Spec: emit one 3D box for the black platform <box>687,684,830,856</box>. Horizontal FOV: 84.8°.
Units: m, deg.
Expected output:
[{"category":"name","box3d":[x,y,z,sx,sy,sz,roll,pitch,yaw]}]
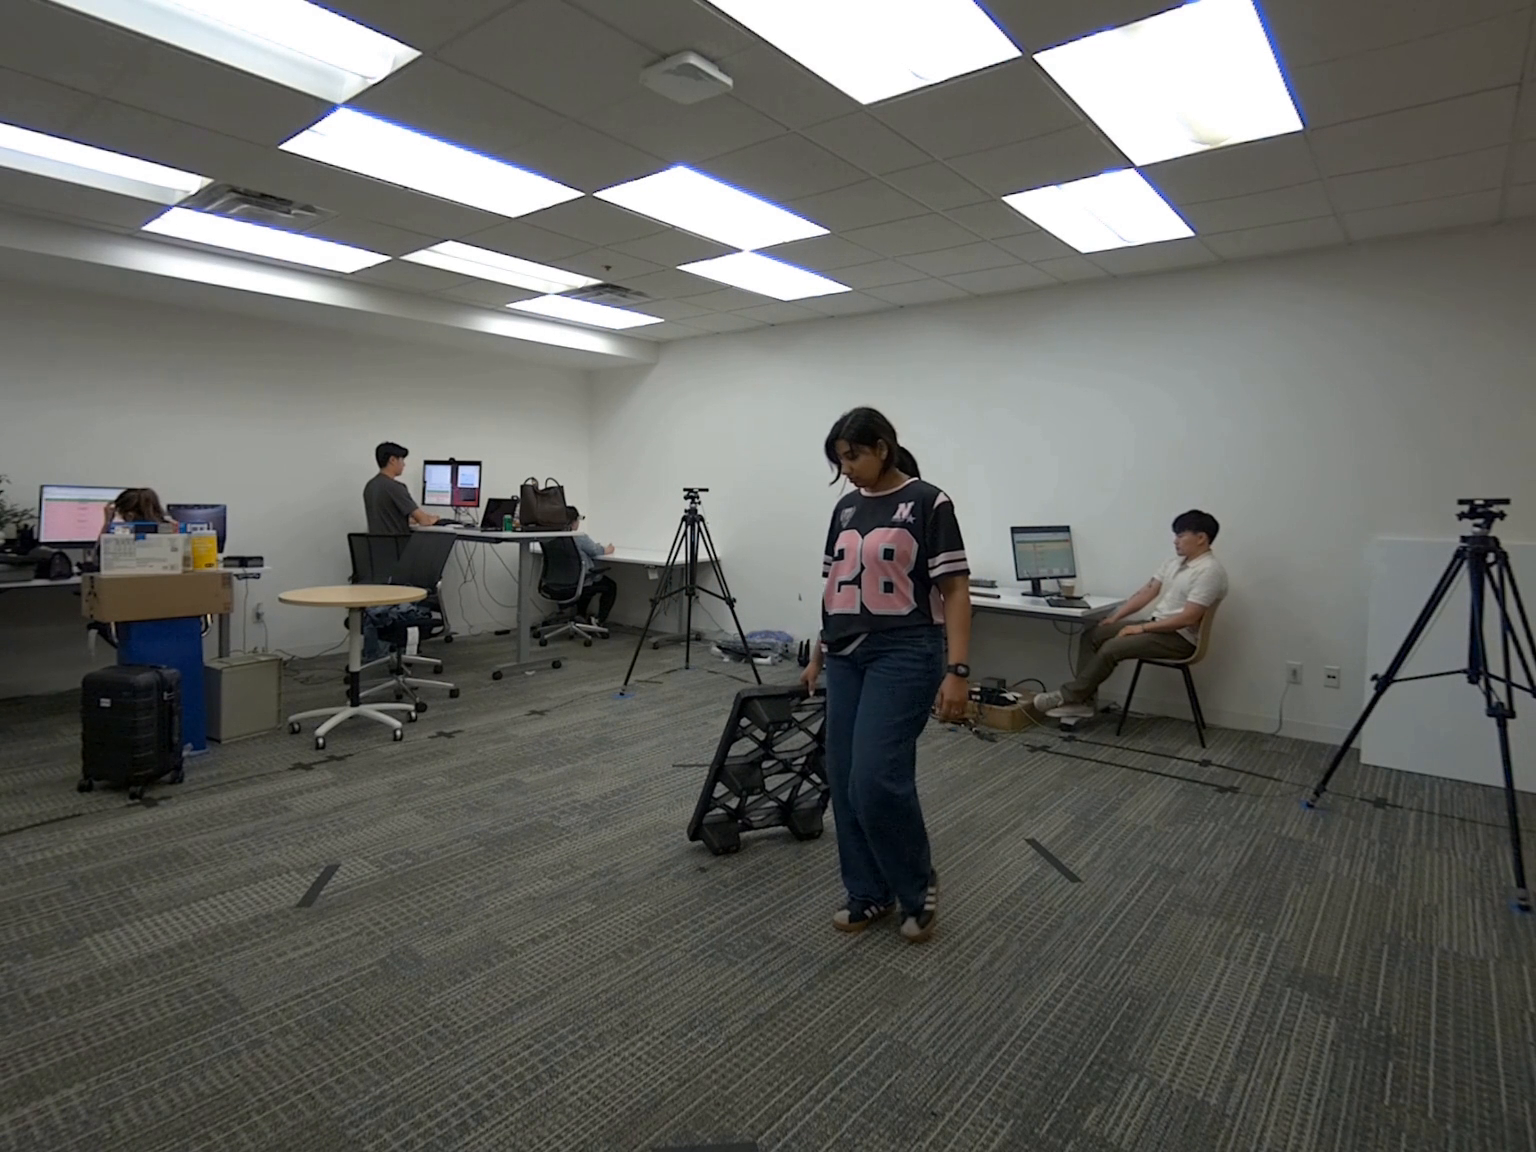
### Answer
[{"category":"black platform","box3d":[0.066,0.727,3.181,0.591,0.792,0.149,0,37,-26]}]
